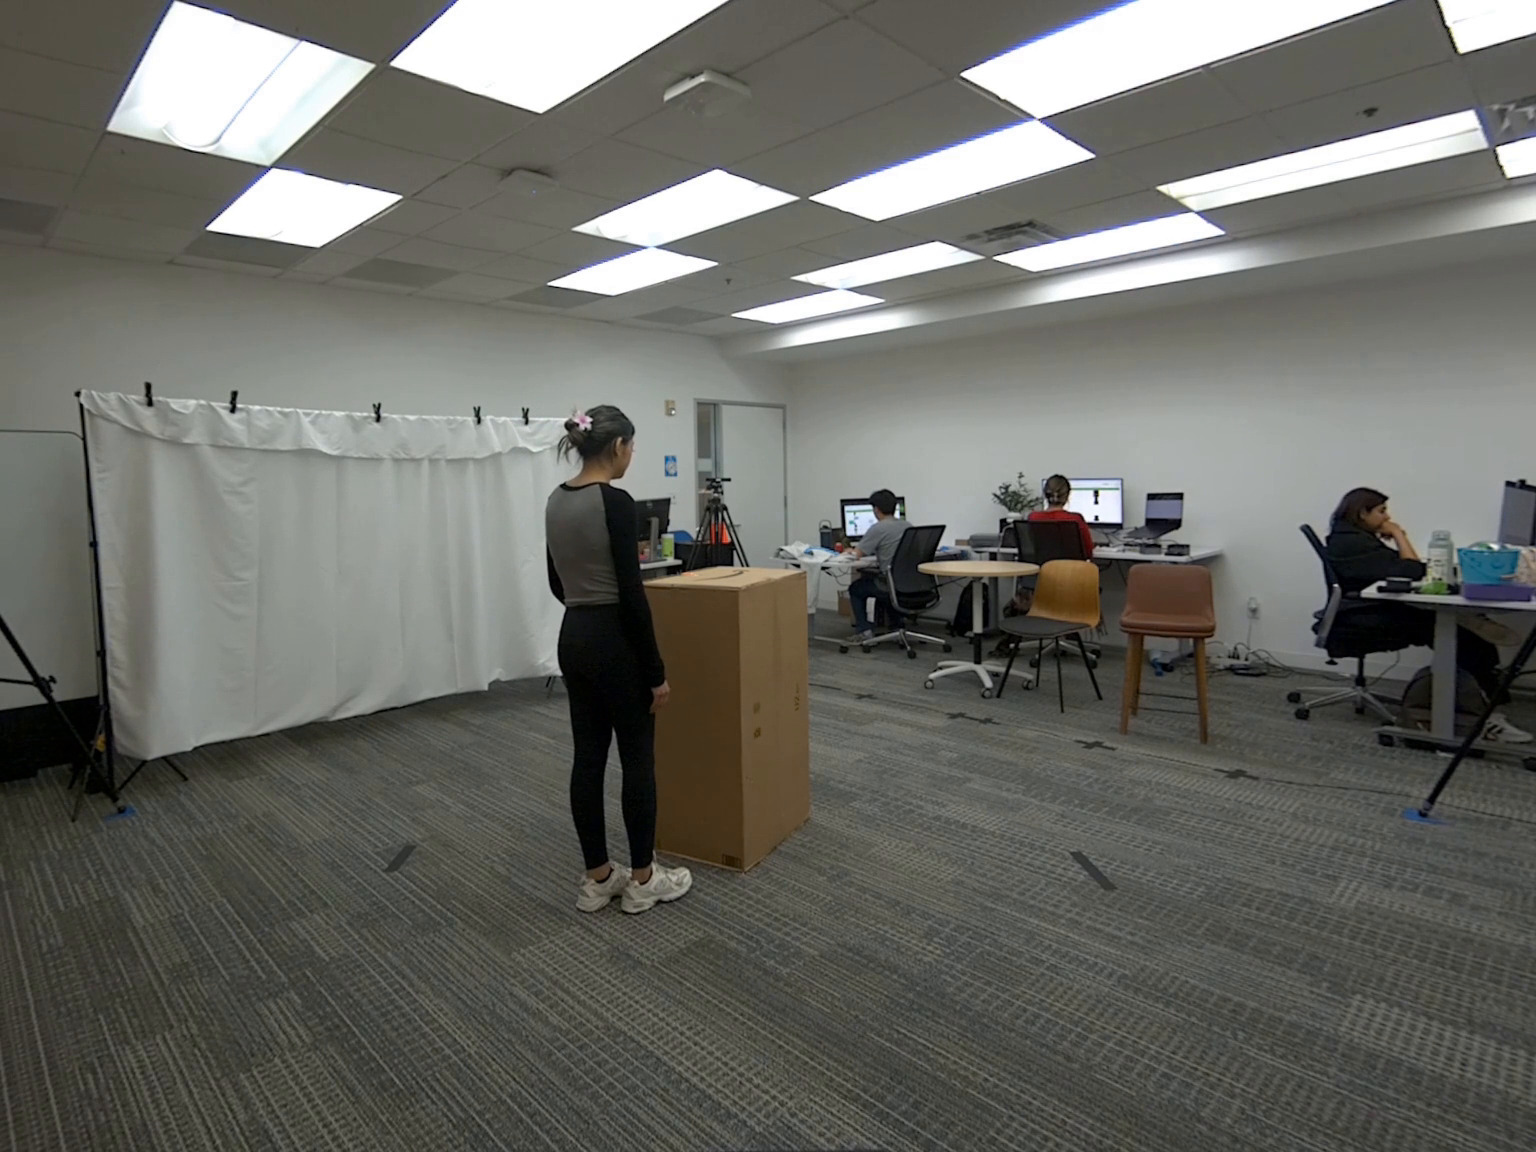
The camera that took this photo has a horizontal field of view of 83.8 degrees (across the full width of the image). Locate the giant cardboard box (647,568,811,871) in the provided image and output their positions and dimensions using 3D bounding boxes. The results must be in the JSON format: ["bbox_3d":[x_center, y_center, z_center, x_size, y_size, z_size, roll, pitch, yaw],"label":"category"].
[{"bbox_3d":[-0.152,0.511,3.341,0.458,1.023,0.572,2,6,28],"label":"giant cardboard box"}]
